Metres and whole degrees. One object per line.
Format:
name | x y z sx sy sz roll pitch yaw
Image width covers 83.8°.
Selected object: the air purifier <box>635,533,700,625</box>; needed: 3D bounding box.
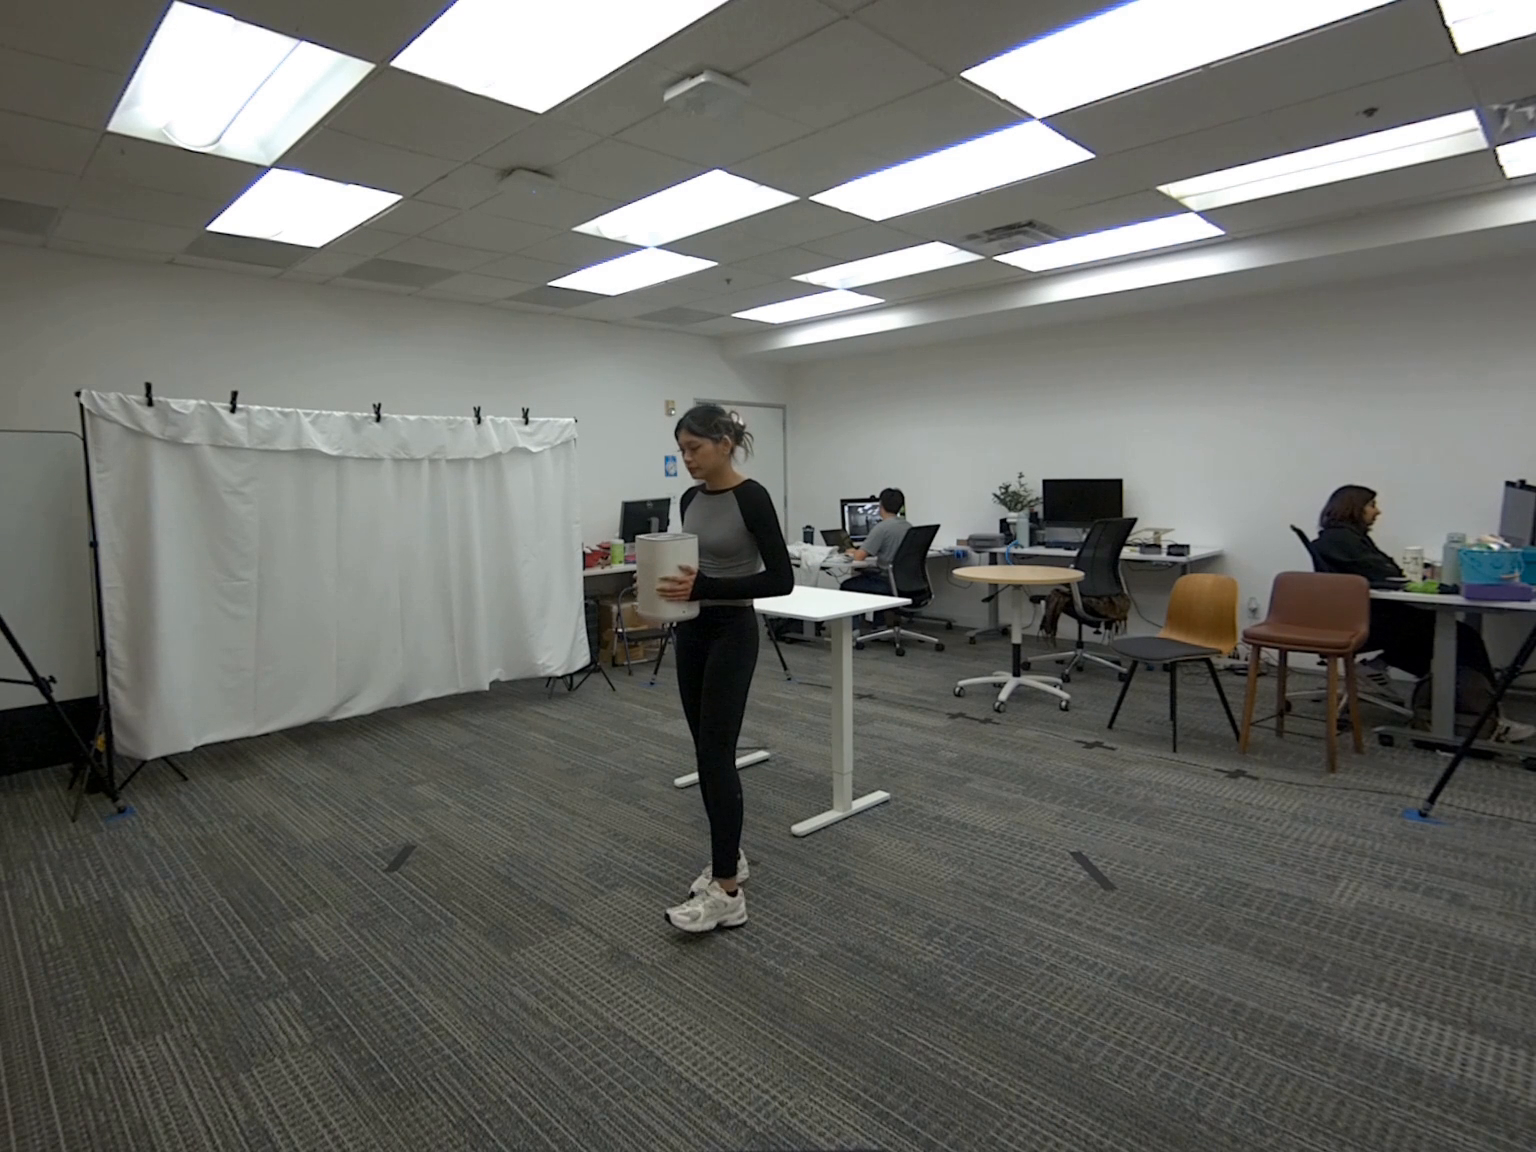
air purifier | -0.328 0.004 2.711 0.167 0.264 0.177 -6 9 -39
